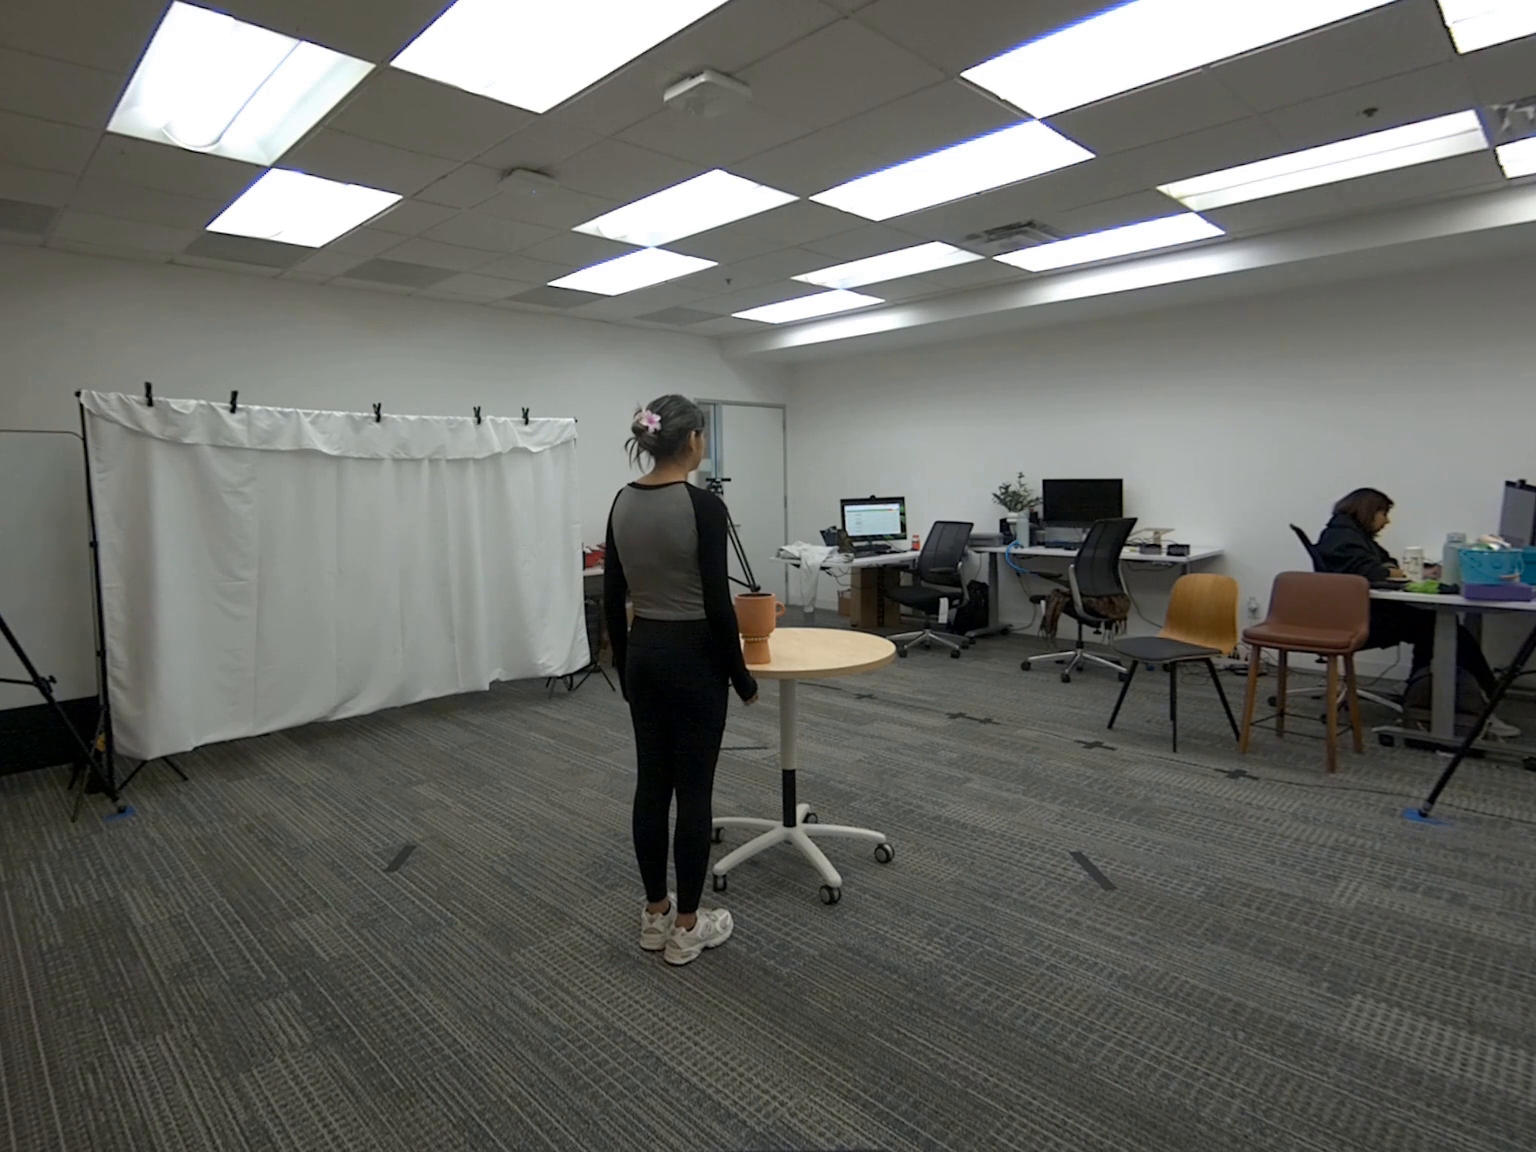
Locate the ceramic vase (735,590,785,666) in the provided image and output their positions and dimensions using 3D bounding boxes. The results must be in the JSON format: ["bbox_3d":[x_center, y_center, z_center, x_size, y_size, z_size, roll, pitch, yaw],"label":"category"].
[{"bbox_3d":[-0.033,0.173,2.811,0.163,0.219,0.131,3,5,29],"label":"ceramic vase"}]
